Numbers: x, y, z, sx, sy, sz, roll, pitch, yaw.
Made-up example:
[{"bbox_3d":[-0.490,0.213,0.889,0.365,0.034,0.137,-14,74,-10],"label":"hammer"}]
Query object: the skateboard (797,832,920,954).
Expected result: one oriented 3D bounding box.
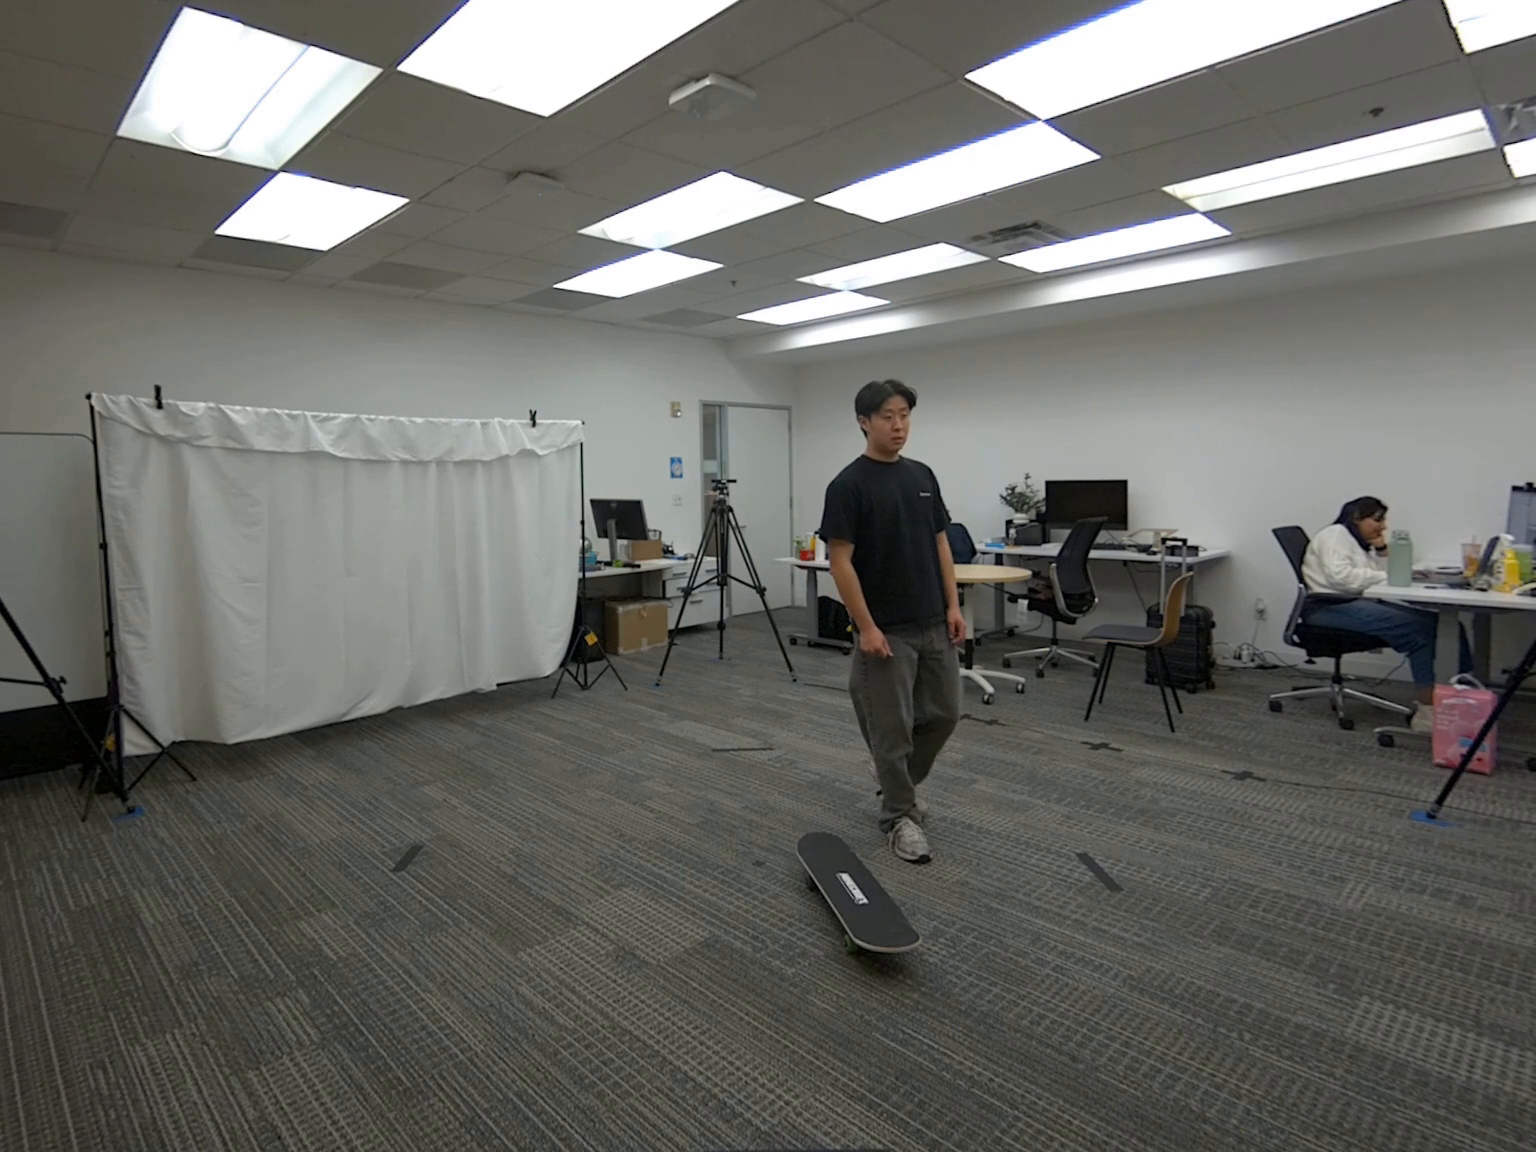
[{"bbox_3d":[0.277,1.030,2.727,0.191,0.110,0.797,-2,6,-13],"label":"skateboard"}]
